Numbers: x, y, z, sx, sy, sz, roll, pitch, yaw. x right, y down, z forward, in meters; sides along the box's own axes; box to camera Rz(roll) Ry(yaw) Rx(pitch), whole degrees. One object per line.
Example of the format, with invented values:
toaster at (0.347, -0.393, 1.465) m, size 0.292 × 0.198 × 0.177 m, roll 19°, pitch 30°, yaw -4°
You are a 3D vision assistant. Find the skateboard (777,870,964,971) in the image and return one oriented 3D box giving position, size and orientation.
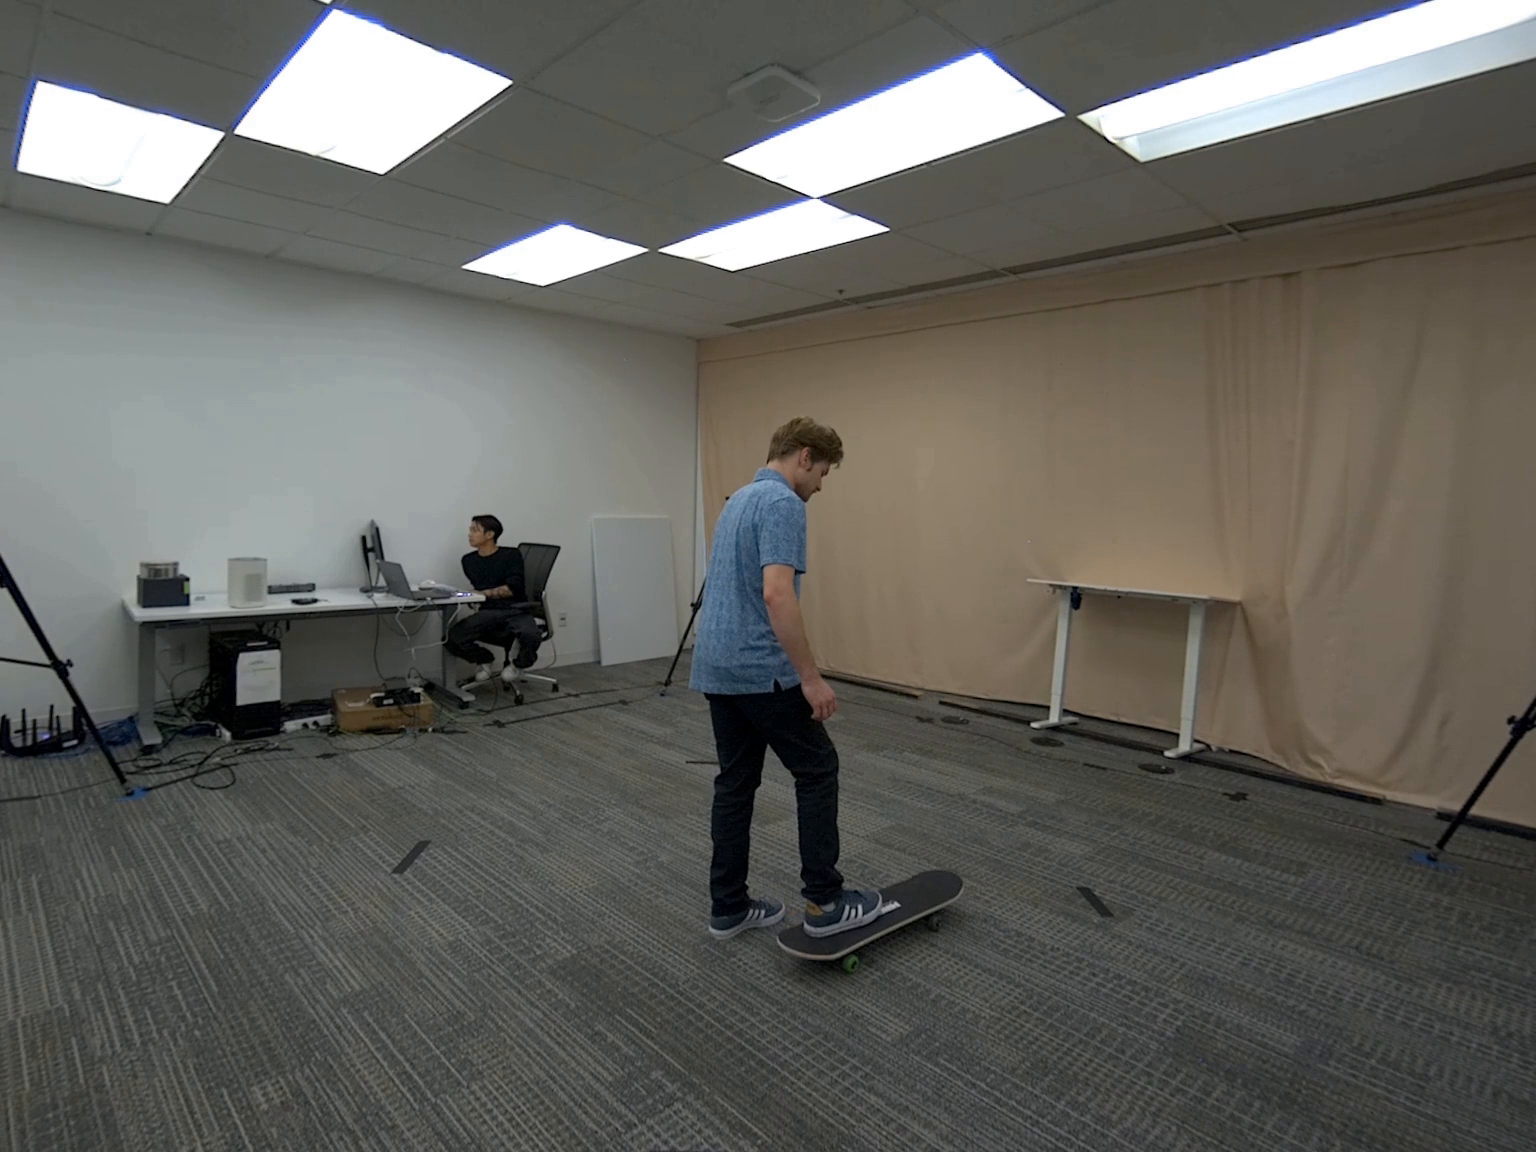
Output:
skateboard at (0.339, 1.097, 2.674) m, size 0.768 × 0.110 × 0.198 m, roll -4°, pitch 7°, yaw -40°
